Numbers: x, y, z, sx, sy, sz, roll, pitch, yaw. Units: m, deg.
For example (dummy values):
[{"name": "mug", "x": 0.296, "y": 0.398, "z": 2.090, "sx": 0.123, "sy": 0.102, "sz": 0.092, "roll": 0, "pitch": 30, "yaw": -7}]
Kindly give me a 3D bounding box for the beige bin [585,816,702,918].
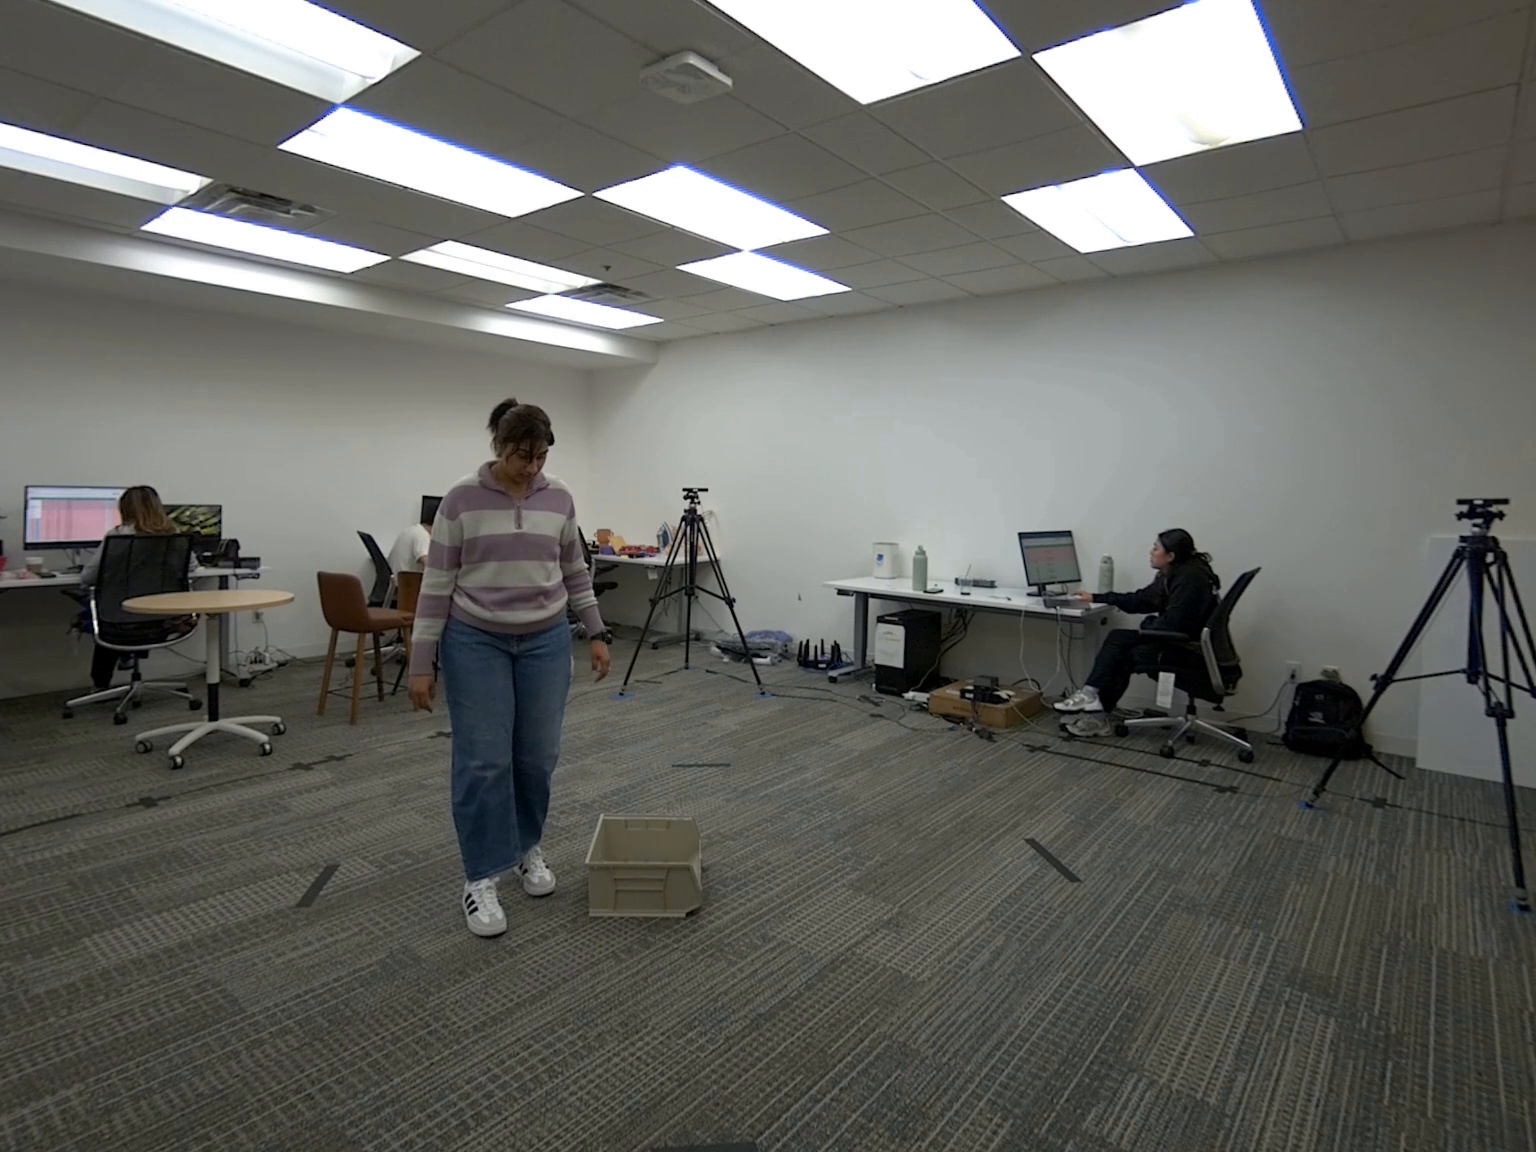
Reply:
[{"name": "beige bin", "x": -0.428, "y": 0.993, "z": 2.945, "sx": 0.377, "sy": 0.188, "sz": 0.425, "roll": 0, "pitch": 5, "yaw": -3}]
